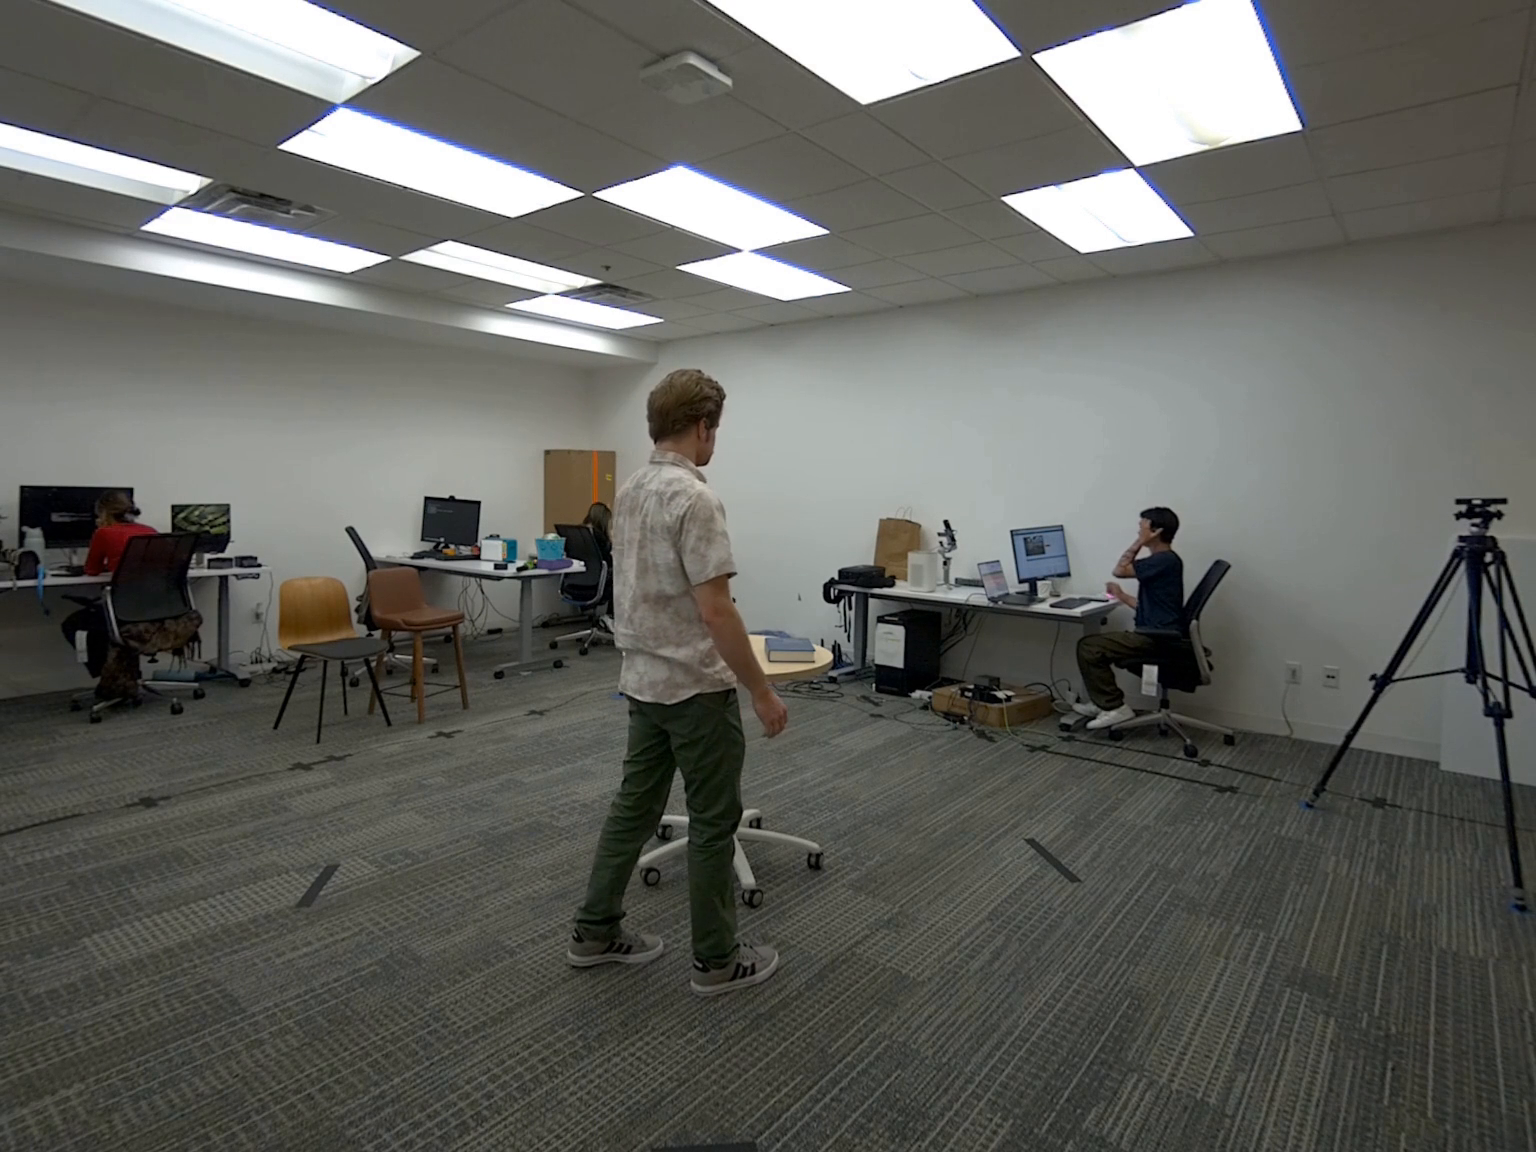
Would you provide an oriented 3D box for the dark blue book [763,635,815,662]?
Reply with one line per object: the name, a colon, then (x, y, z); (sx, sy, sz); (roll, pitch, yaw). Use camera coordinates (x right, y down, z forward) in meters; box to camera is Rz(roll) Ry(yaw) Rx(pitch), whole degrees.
dark blue book: (0.071, 0.260, 3.061); (0.163, 0.045, 0.246); (1, 5, -2)
